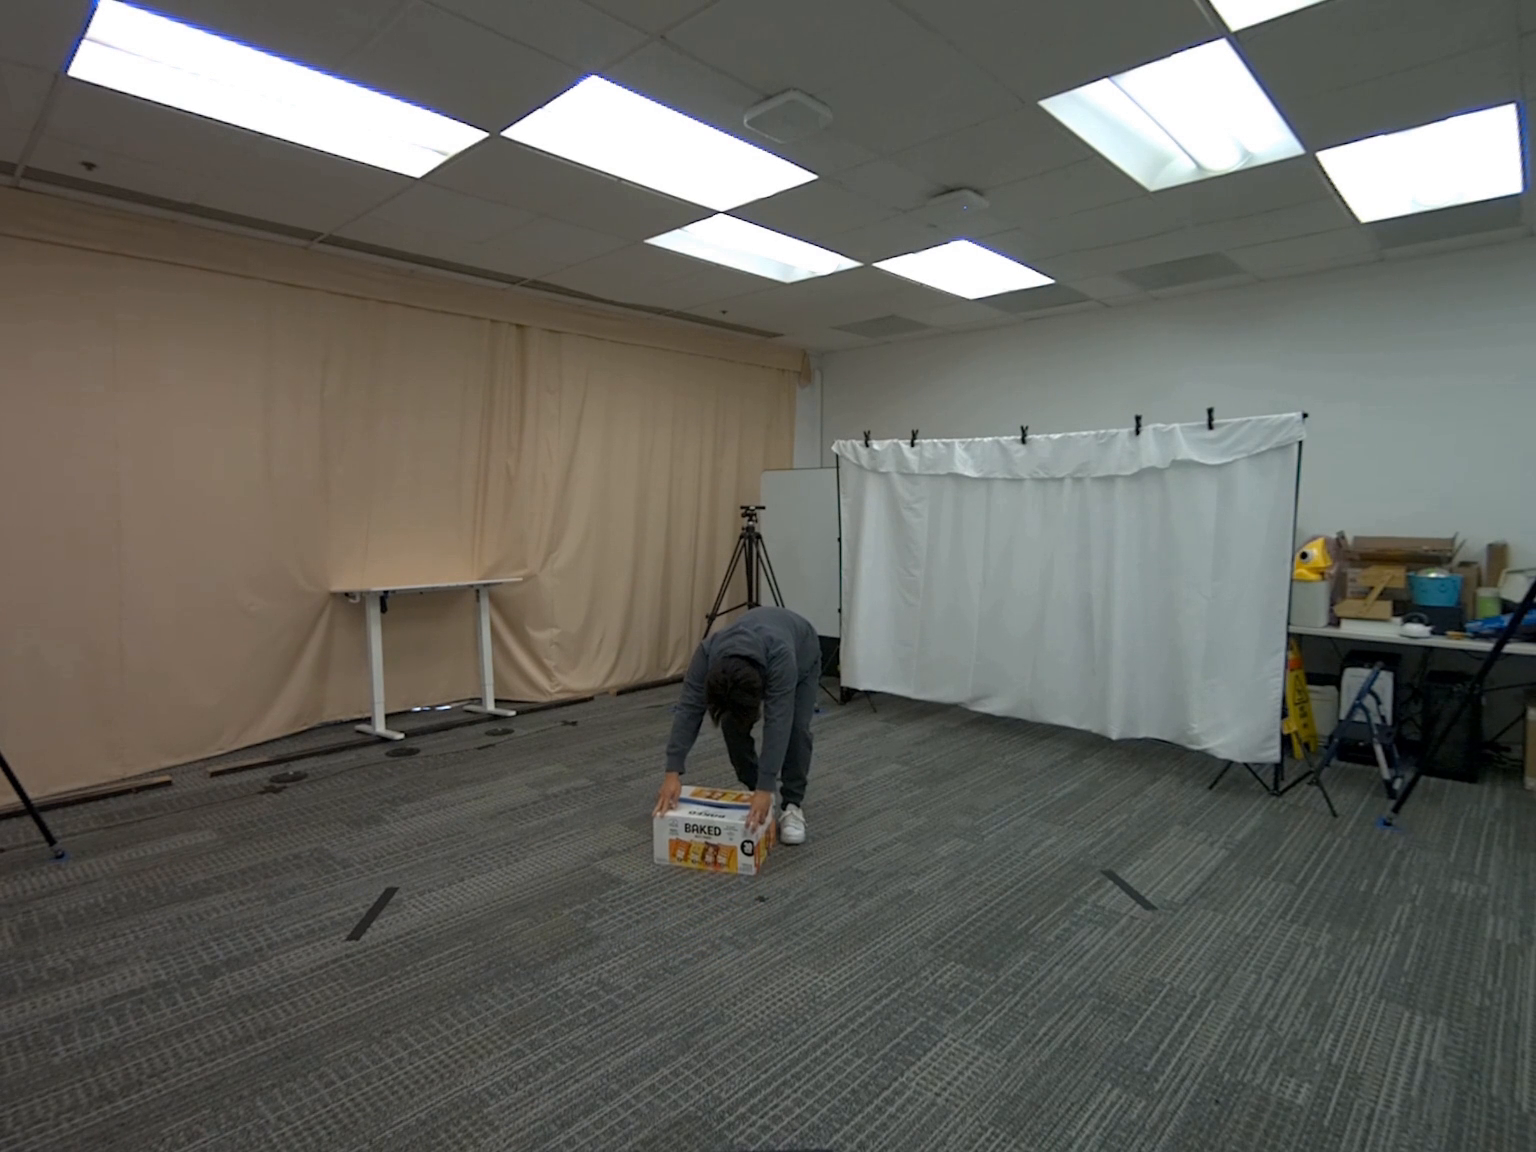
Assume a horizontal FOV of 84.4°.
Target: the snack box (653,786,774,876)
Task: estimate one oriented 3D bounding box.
[{"bbox_3d":[-0.206,1.013,3.379,0.412,0.205,0.335,0,4,16],"label":"snack box"}]
